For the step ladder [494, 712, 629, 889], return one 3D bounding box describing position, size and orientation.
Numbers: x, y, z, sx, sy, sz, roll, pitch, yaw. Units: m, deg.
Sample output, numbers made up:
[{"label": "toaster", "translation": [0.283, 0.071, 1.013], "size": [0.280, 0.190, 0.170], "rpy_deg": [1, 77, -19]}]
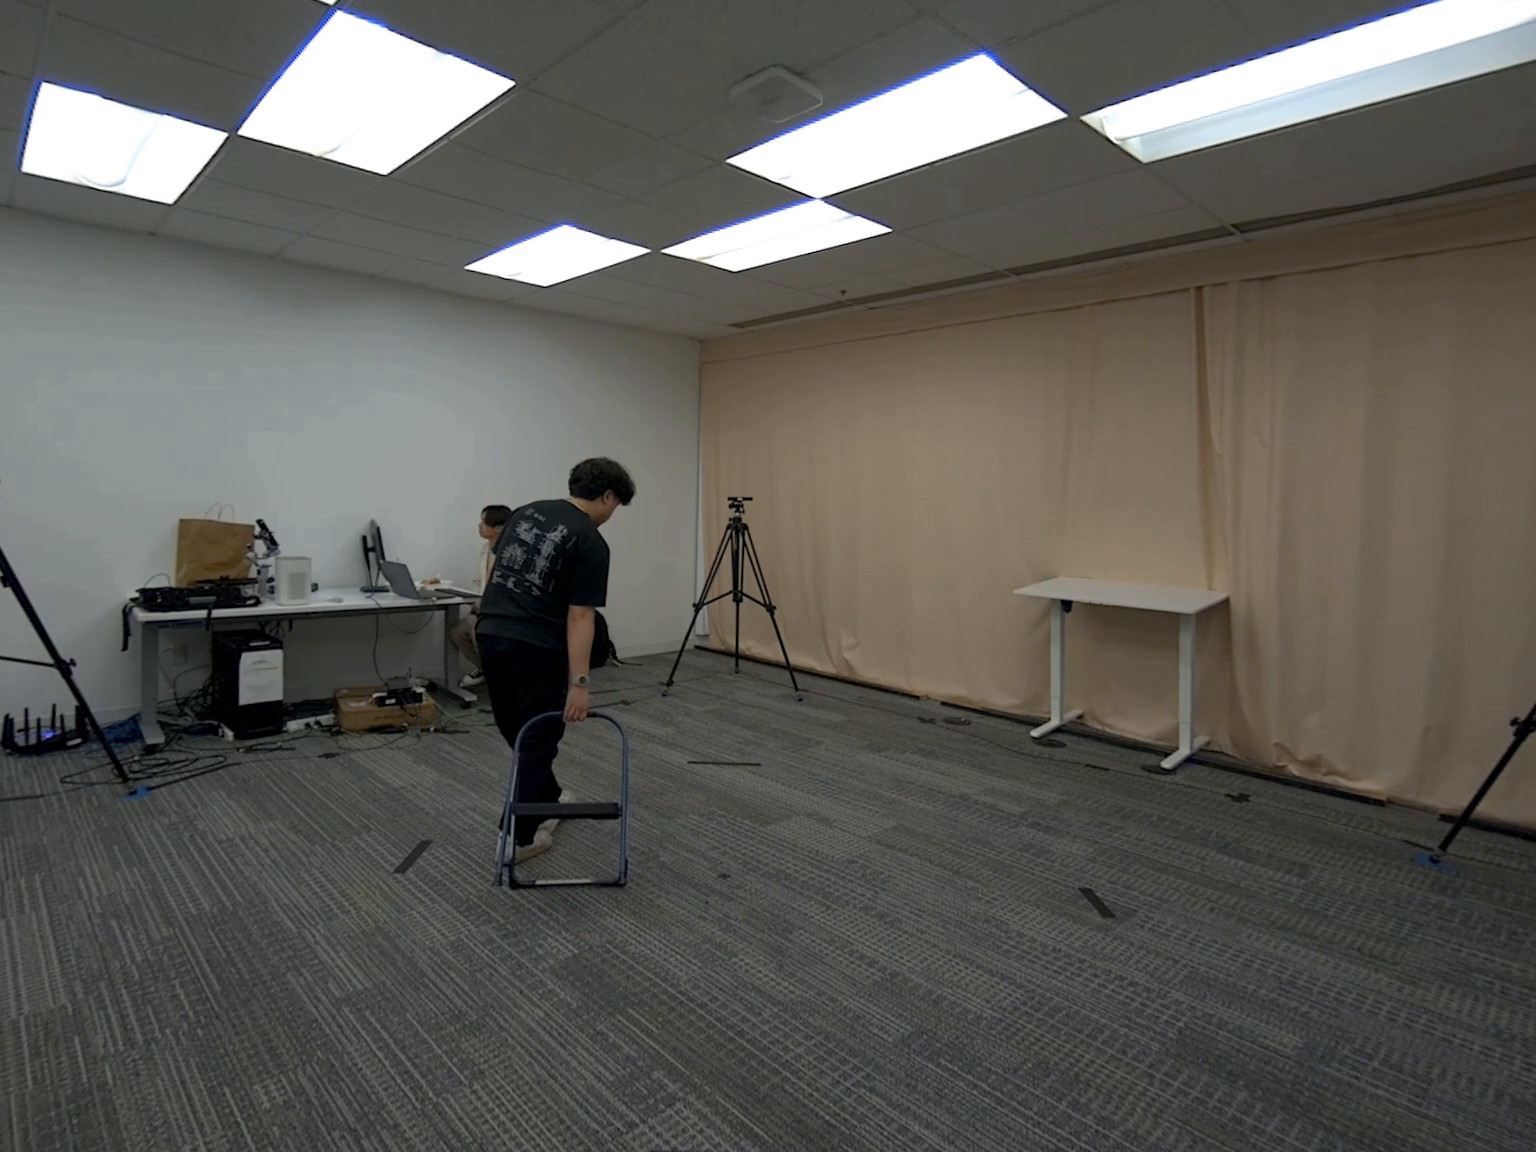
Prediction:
[{"label": "step ladder", "translation": [-0.708, 0.770, 2.965], "size": [0.428, 0.616, 0.346], "rpy_deg": [1, -23, -8]}]
